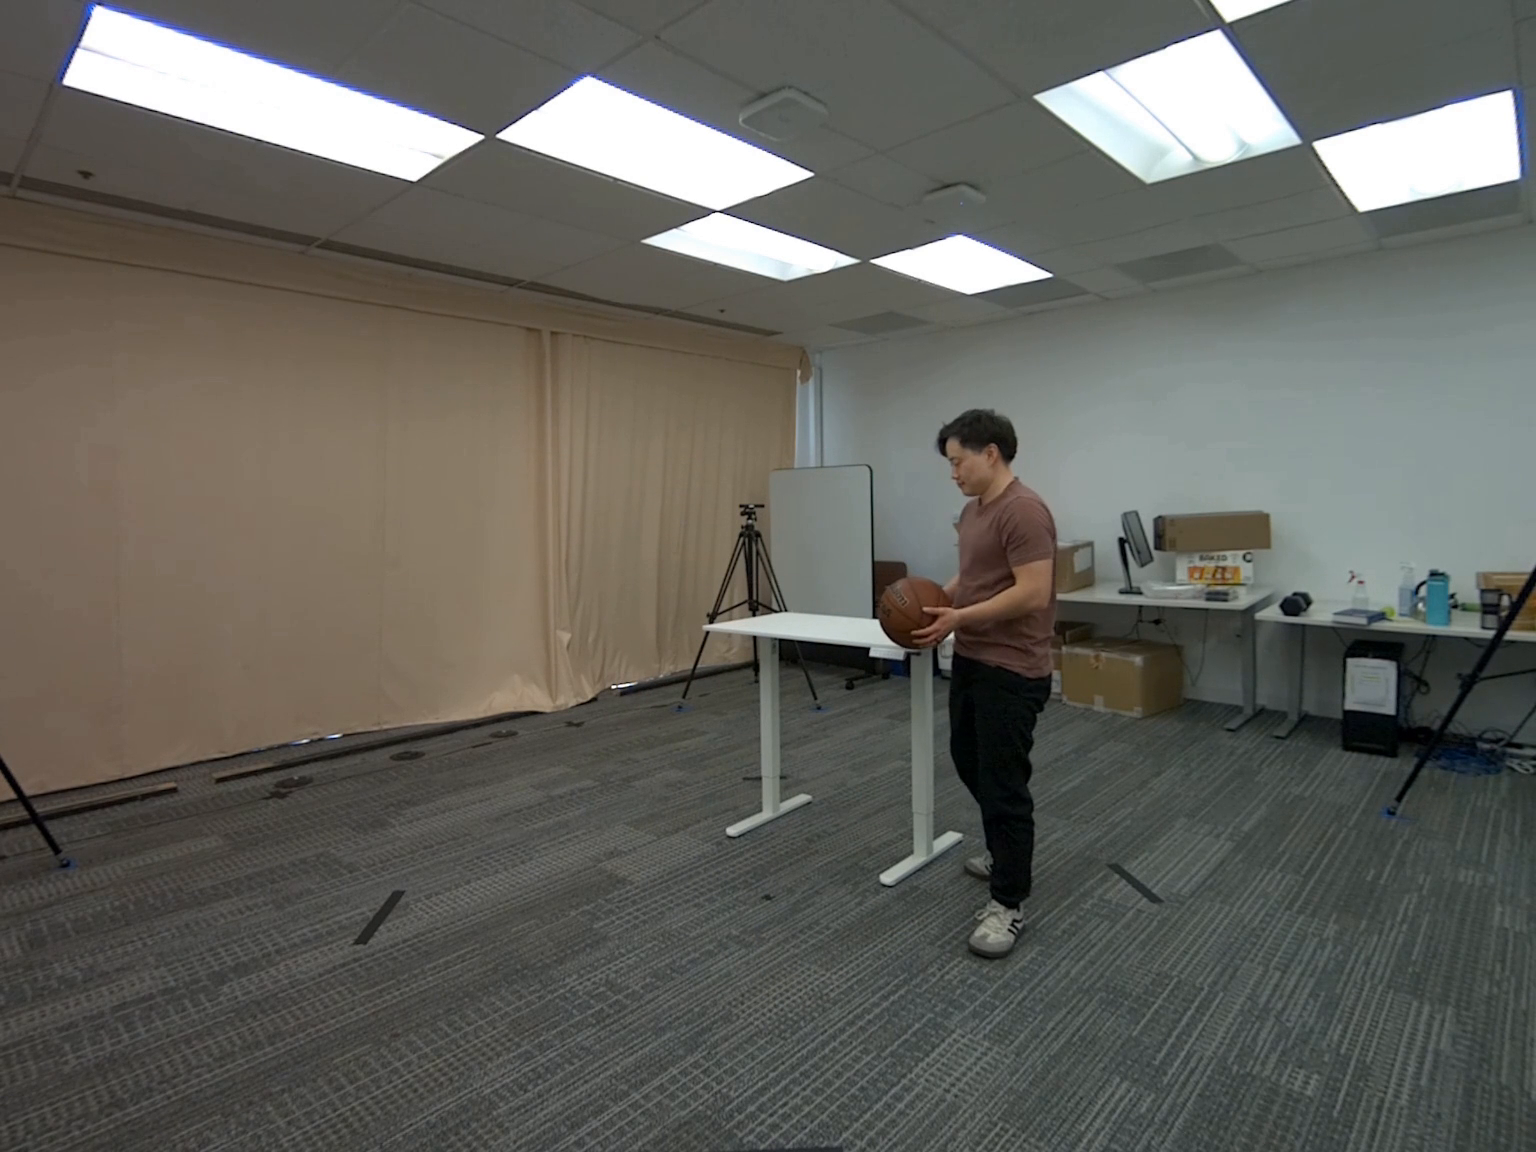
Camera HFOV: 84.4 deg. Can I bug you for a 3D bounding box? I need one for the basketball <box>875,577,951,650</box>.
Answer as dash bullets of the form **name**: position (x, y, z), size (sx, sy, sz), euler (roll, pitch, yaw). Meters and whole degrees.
- **basketball**: position (0.489, 0.121, 2.747), size (0.236, 0.235, 0.237), euler (-1, 4, -2)
